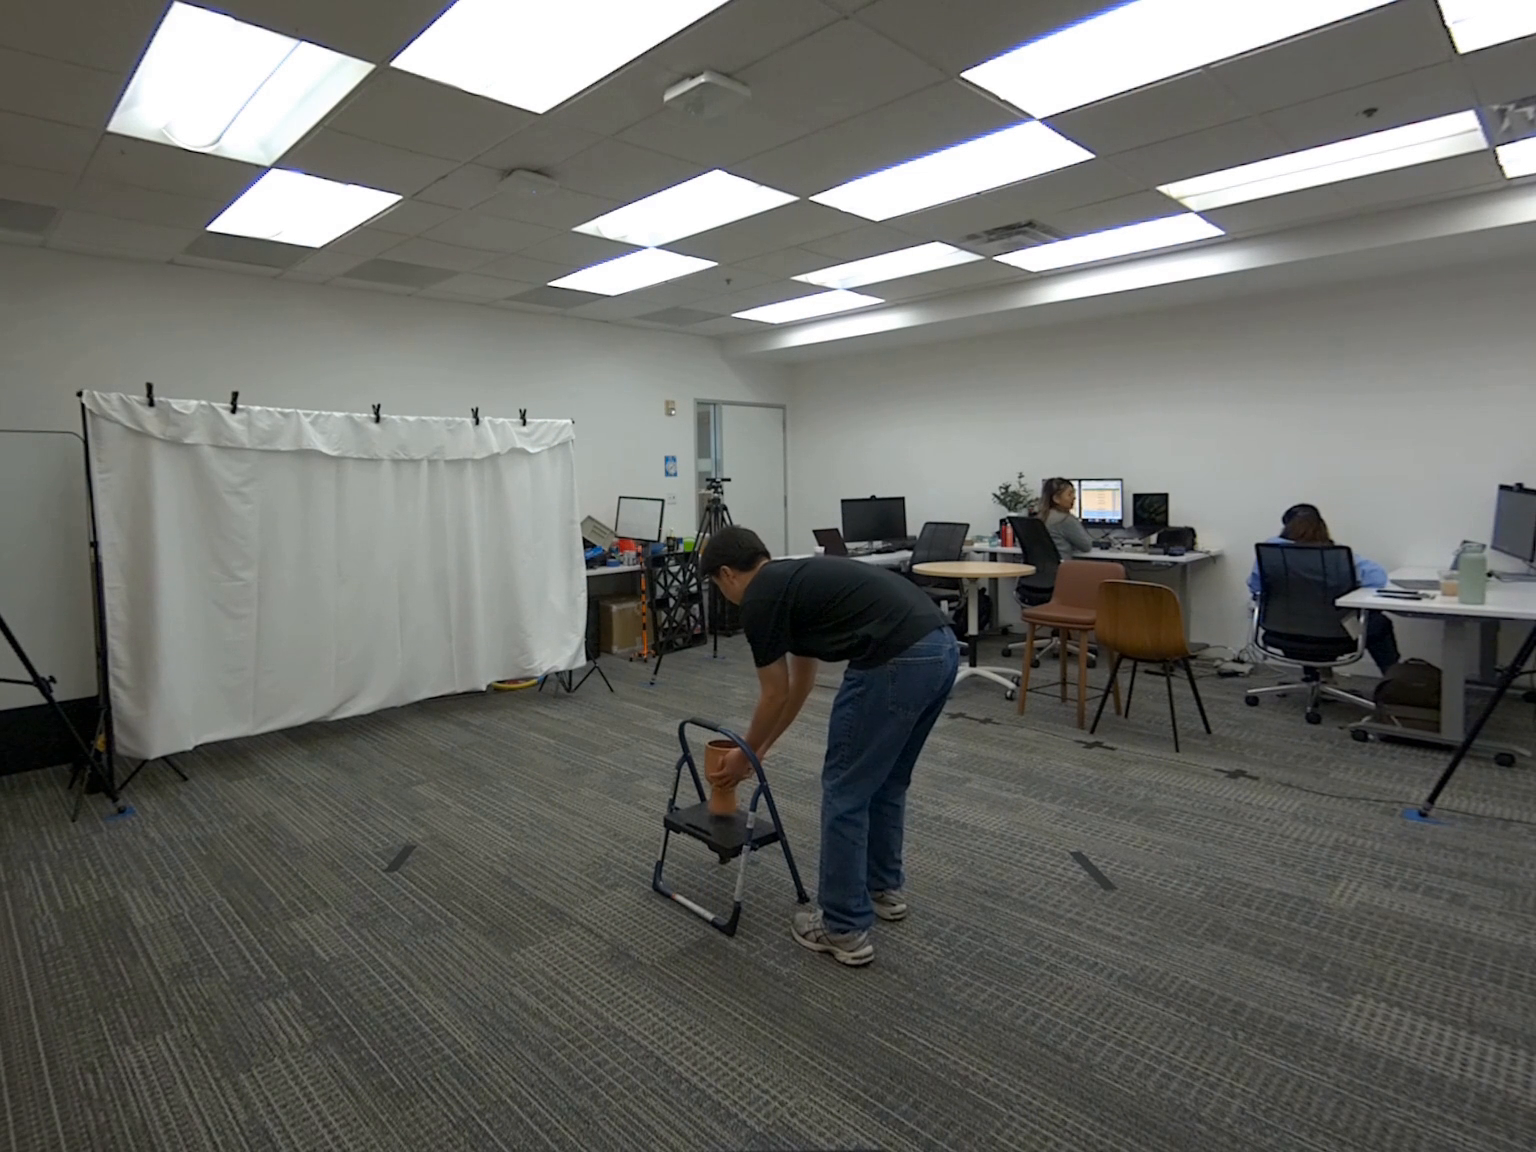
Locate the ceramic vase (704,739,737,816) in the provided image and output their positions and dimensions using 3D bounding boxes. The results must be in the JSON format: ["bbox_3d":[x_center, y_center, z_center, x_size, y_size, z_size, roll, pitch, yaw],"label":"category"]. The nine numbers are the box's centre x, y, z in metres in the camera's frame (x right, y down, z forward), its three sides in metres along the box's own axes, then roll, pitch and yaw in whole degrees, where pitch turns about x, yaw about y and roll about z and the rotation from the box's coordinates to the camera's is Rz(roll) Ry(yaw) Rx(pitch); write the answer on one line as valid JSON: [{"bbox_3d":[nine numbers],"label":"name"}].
[{"bbox_3d":[-0.138,0.675,2.875,0.154,0.220,0.138,2,1,-35],"label":"ceramic vase"}]
